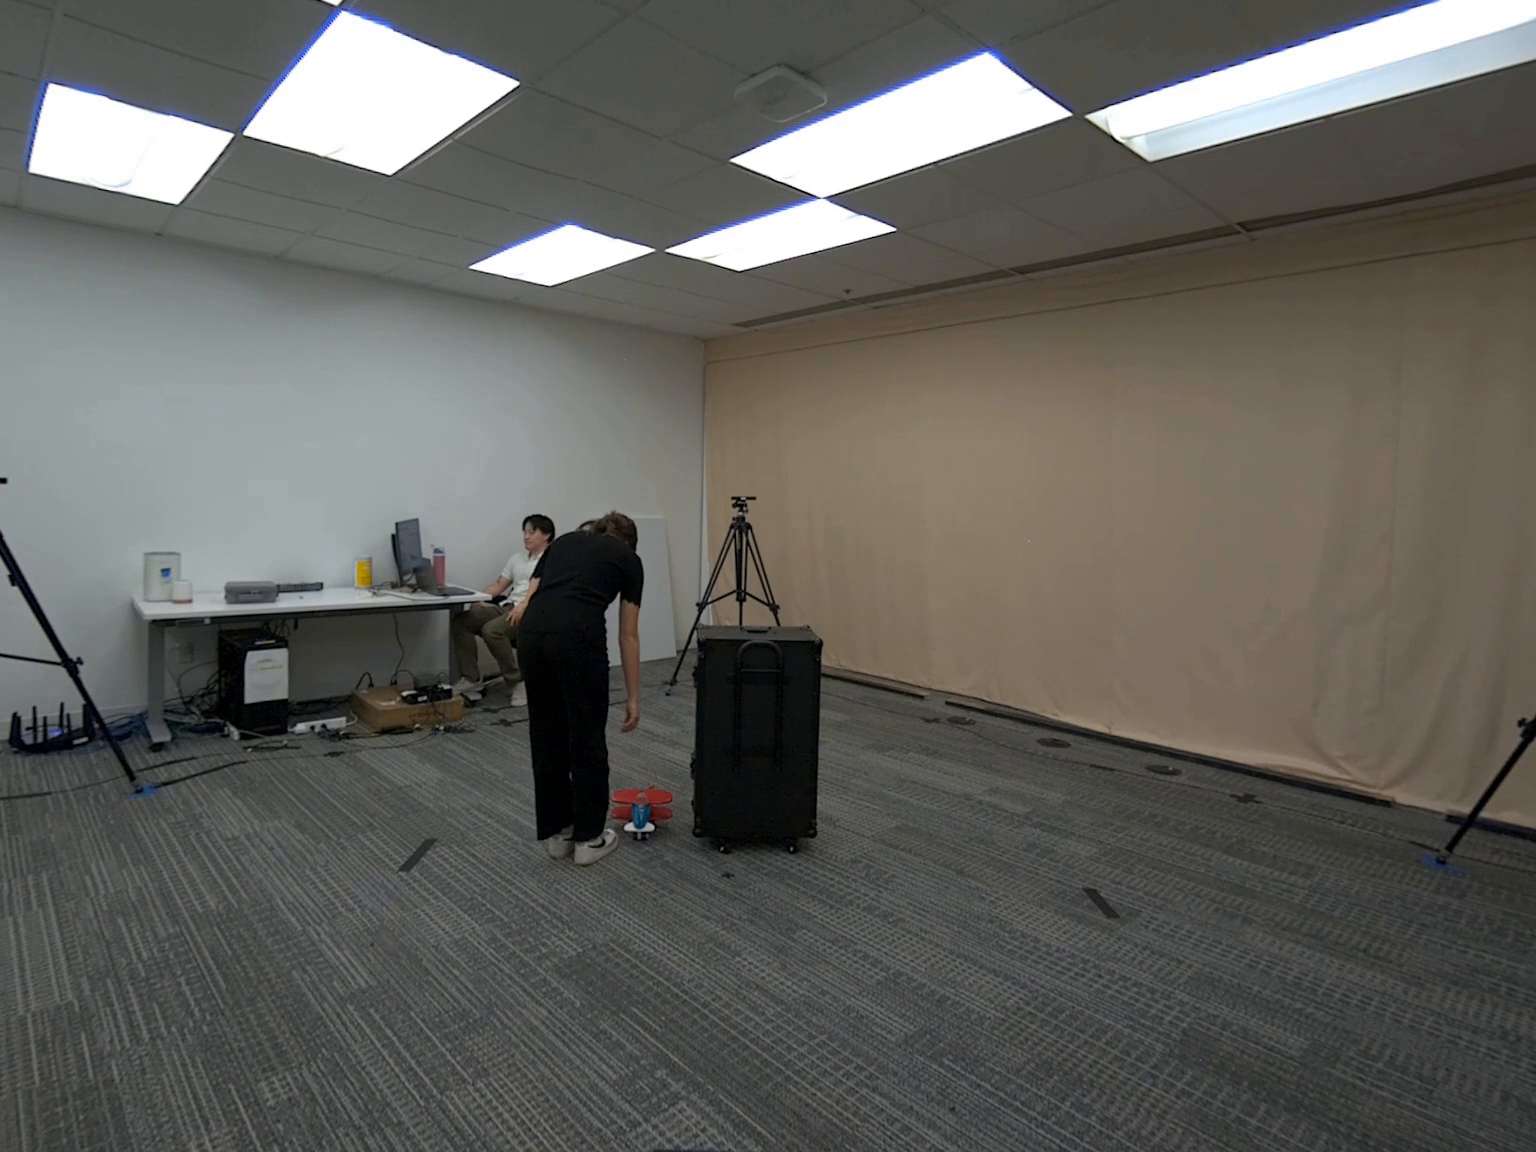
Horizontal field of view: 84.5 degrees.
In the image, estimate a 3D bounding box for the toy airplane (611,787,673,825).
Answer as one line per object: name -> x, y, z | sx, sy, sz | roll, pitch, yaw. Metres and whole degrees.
toy airplane -> -0.512, 0.985, 3.501 | 0.246, 0.156, 0.265 | -1, 5, -31
